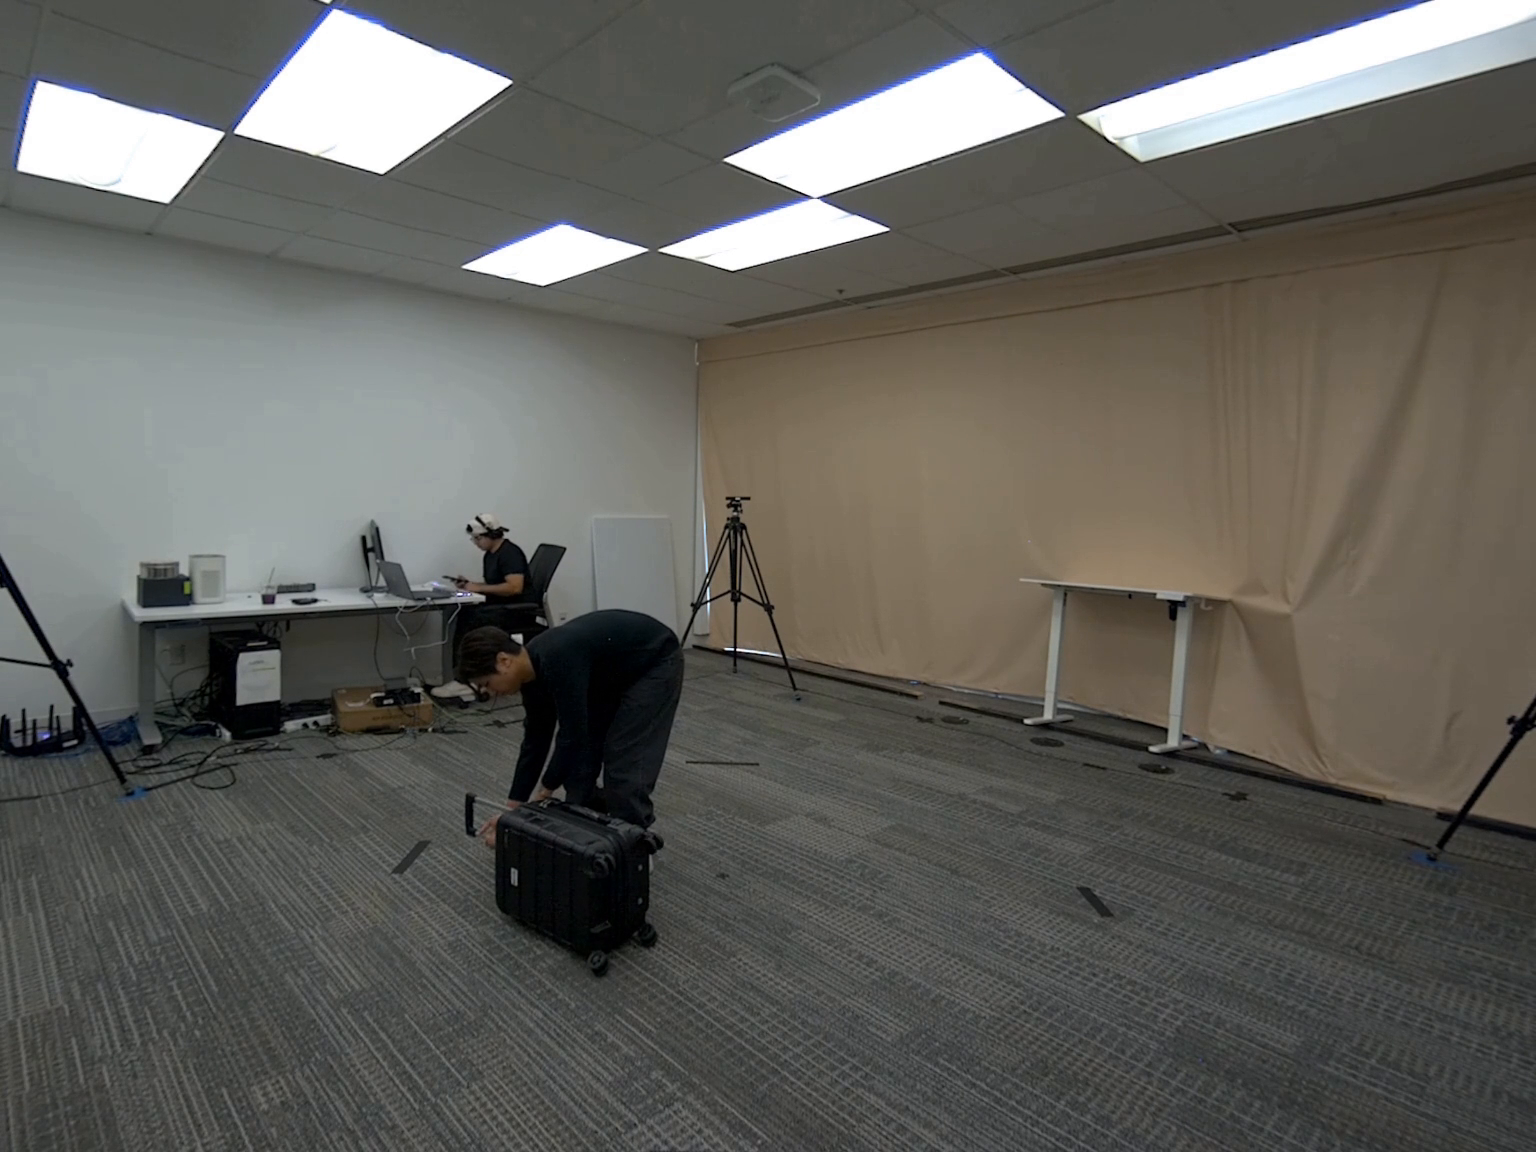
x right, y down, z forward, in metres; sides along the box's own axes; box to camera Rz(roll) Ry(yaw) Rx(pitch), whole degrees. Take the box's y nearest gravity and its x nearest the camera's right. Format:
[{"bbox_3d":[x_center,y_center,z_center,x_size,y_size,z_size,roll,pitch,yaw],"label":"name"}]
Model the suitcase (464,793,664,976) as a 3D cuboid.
[{"bbox_3d":[-0.800,0.939,2.802,1.003,0.383,0.251,5,5,37],"label":"suitcase"}]
